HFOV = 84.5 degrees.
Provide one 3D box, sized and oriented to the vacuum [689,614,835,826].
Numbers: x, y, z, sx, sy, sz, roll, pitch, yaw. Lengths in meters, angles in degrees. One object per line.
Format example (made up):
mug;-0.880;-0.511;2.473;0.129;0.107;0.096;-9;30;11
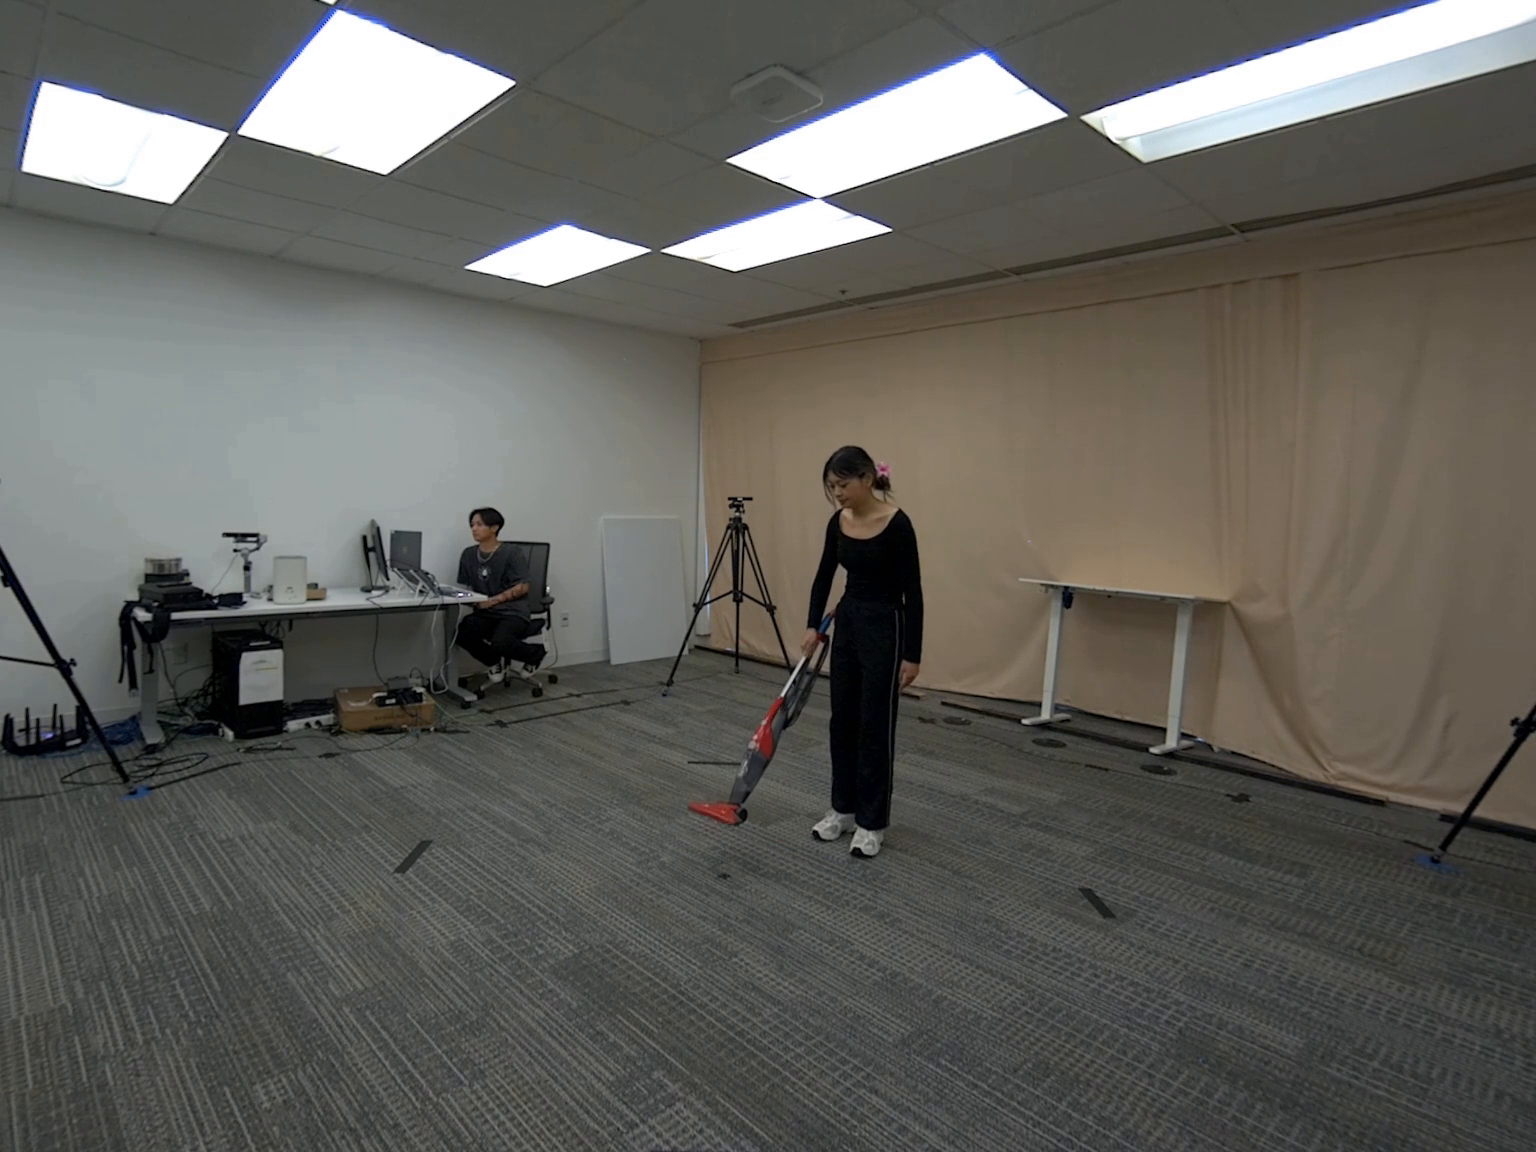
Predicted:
vacuum;0.062;0.538;3.435;0.259;1.053;0.140;2;-42;46
